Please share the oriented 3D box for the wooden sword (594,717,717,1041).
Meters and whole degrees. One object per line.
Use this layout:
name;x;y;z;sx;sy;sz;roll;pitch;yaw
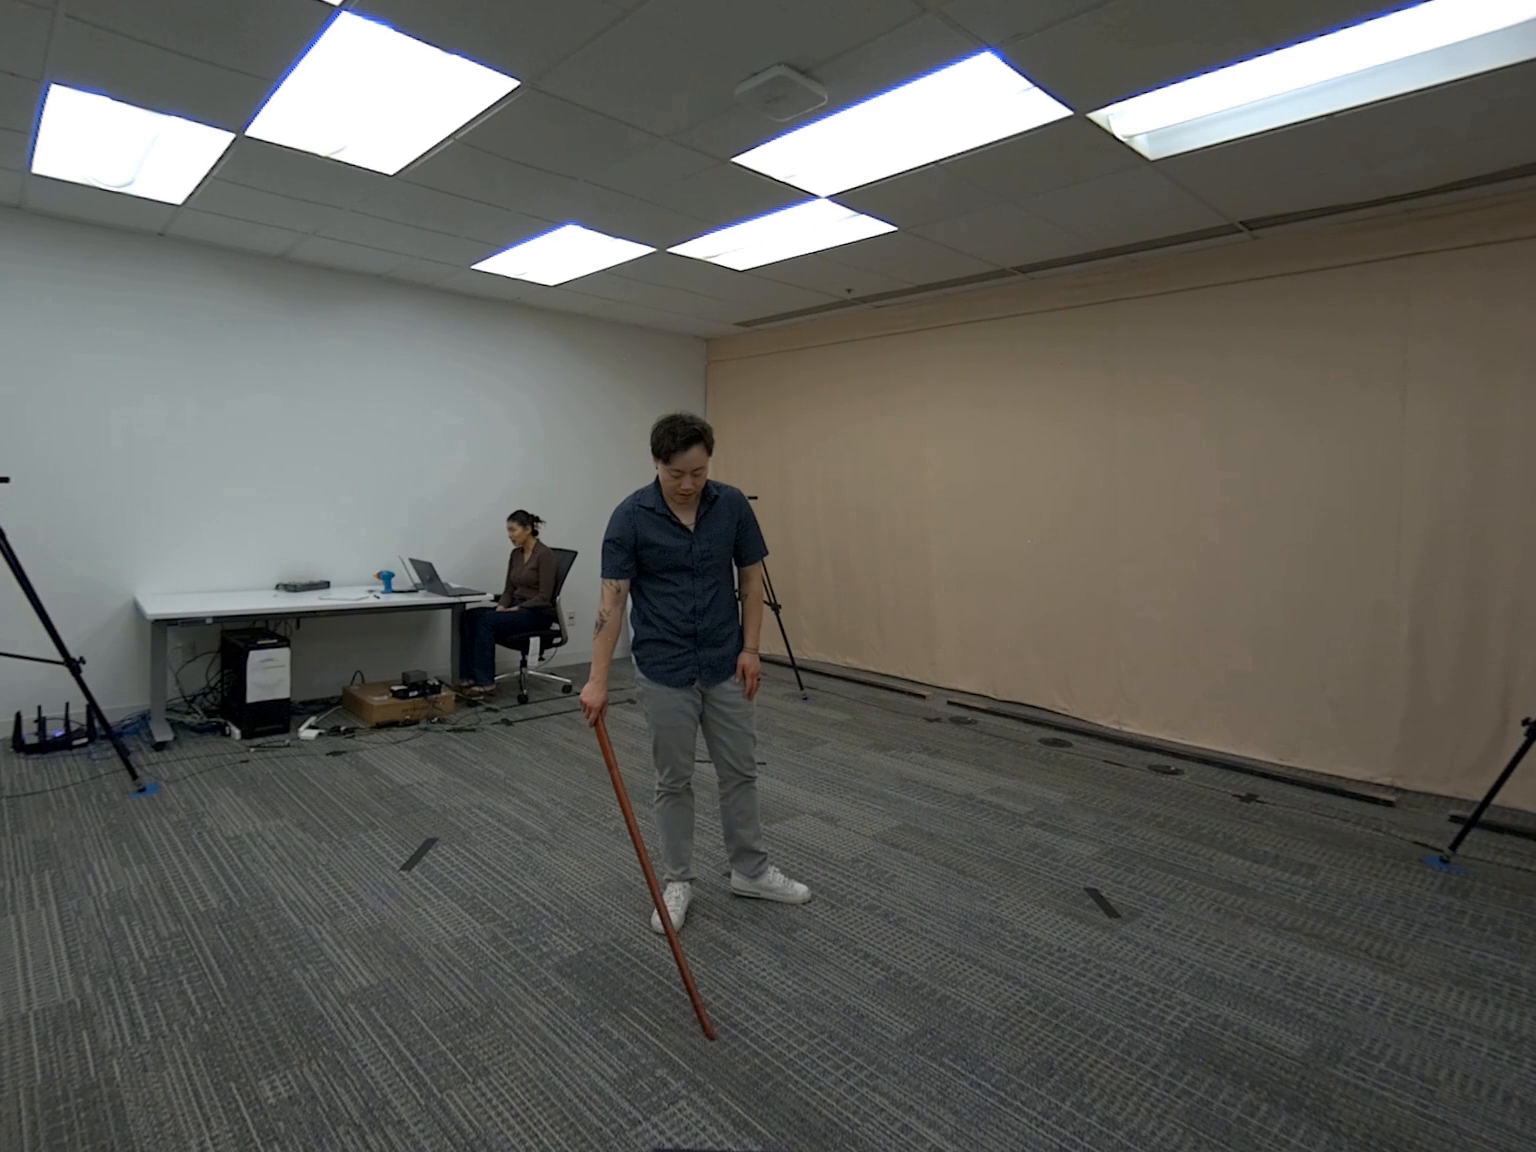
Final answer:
wooden sword;-0.369;0.789;2.404;0.050;1.051;0.024;-12;-32;-30
